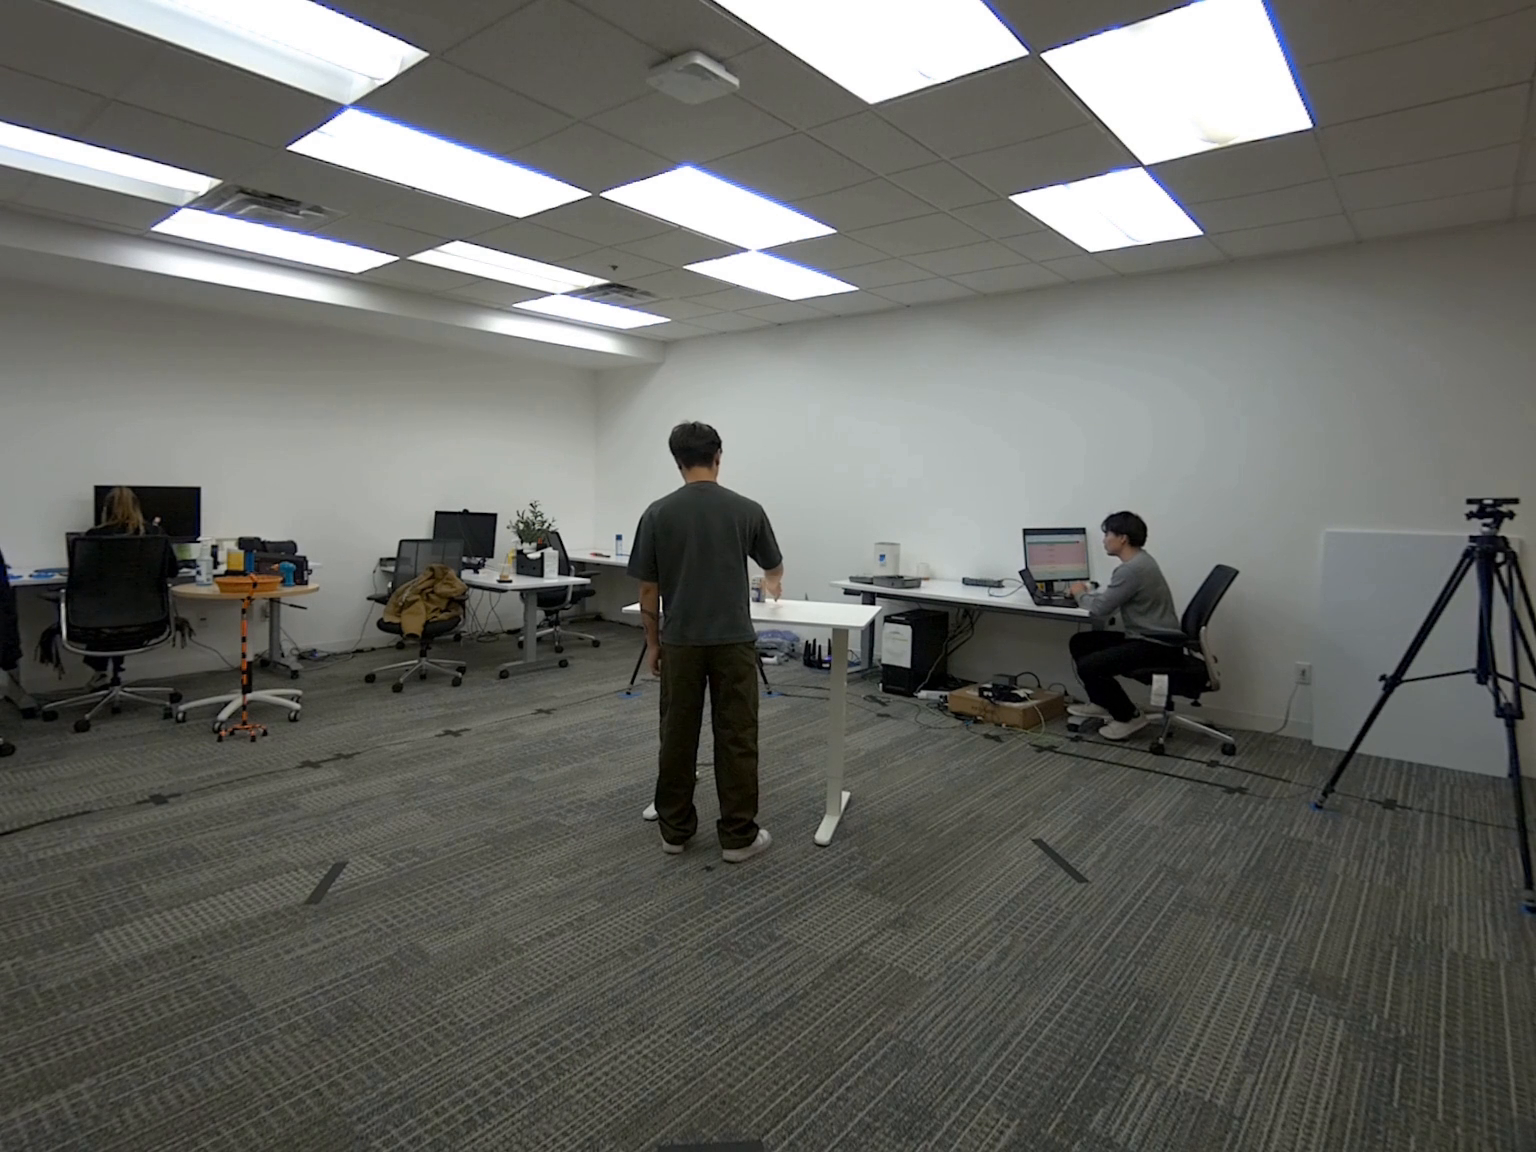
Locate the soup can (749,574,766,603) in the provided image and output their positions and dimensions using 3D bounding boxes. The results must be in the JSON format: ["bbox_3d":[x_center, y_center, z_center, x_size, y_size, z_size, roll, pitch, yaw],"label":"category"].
[{"bbox_3d":[-0.051,0.054,3.853,0.067,0.121,0.067,-1,1,-2],"label":"soup can"}]
